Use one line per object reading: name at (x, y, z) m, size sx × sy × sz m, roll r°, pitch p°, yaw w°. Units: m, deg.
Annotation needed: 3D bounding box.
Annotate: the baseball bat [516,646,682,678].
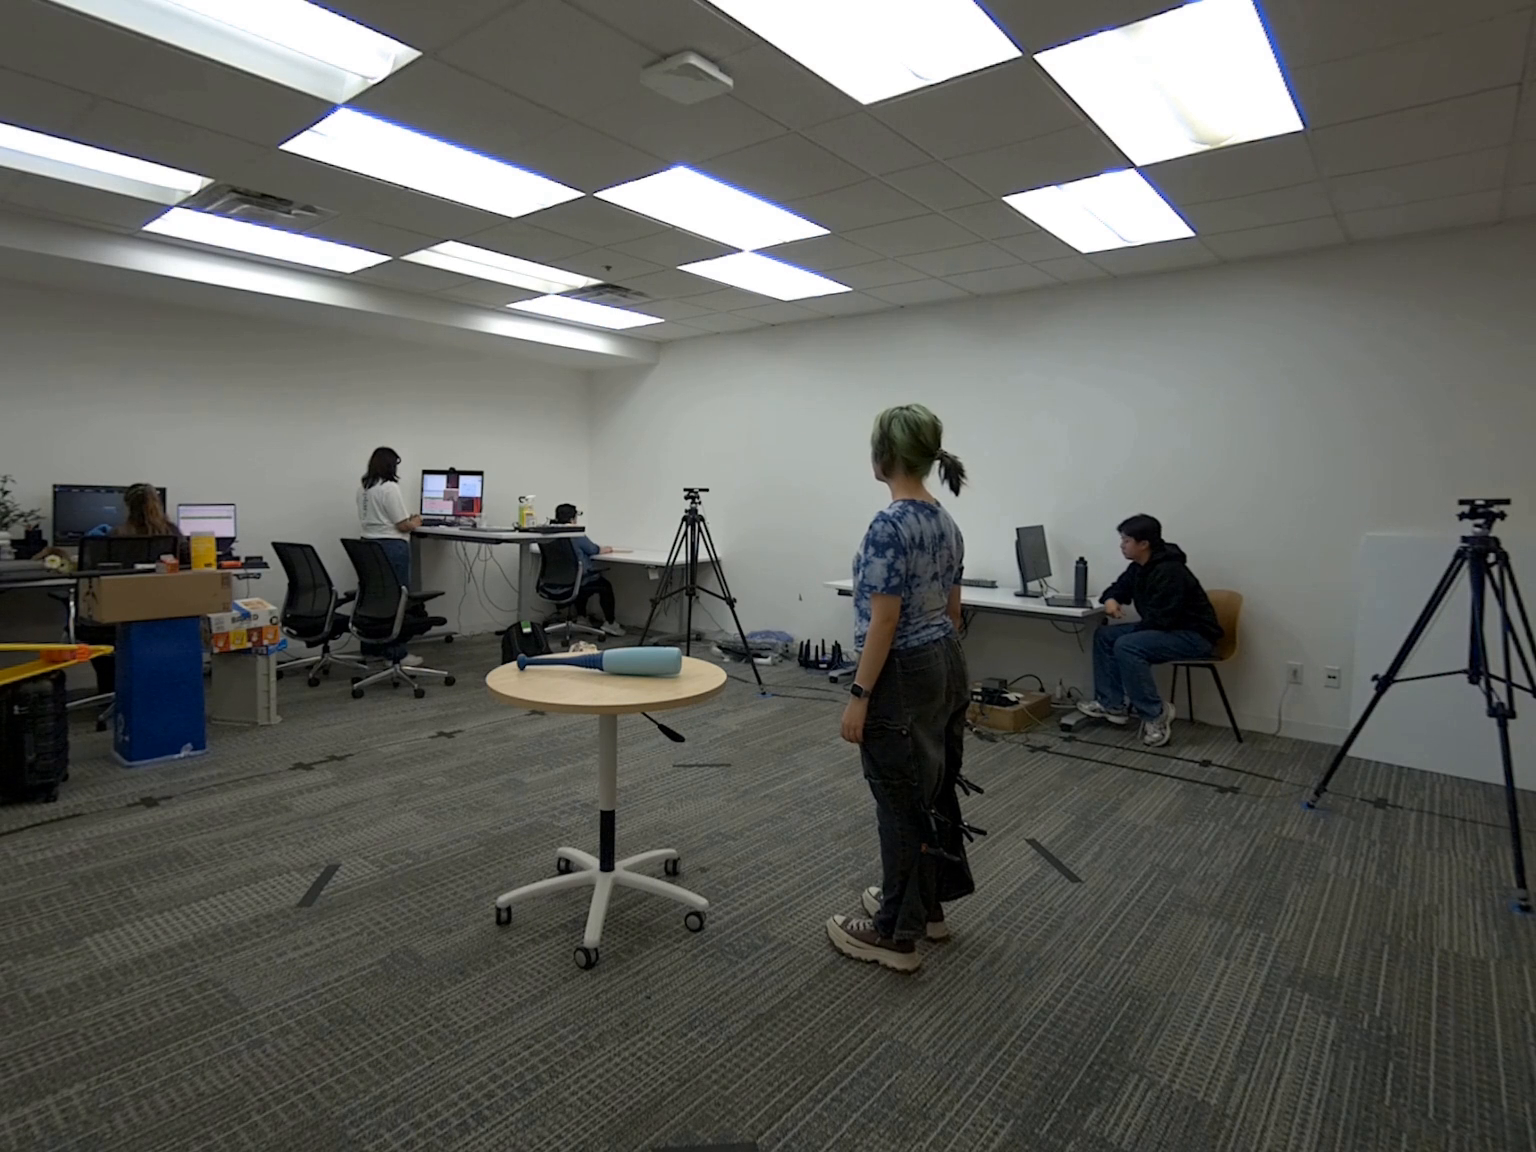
baseball bat at (-0.566, 0.278, 2.755) m, size 0.545 × 0.089 × 0.089 m, roll -2°, pitch 4°, yaw 4°
